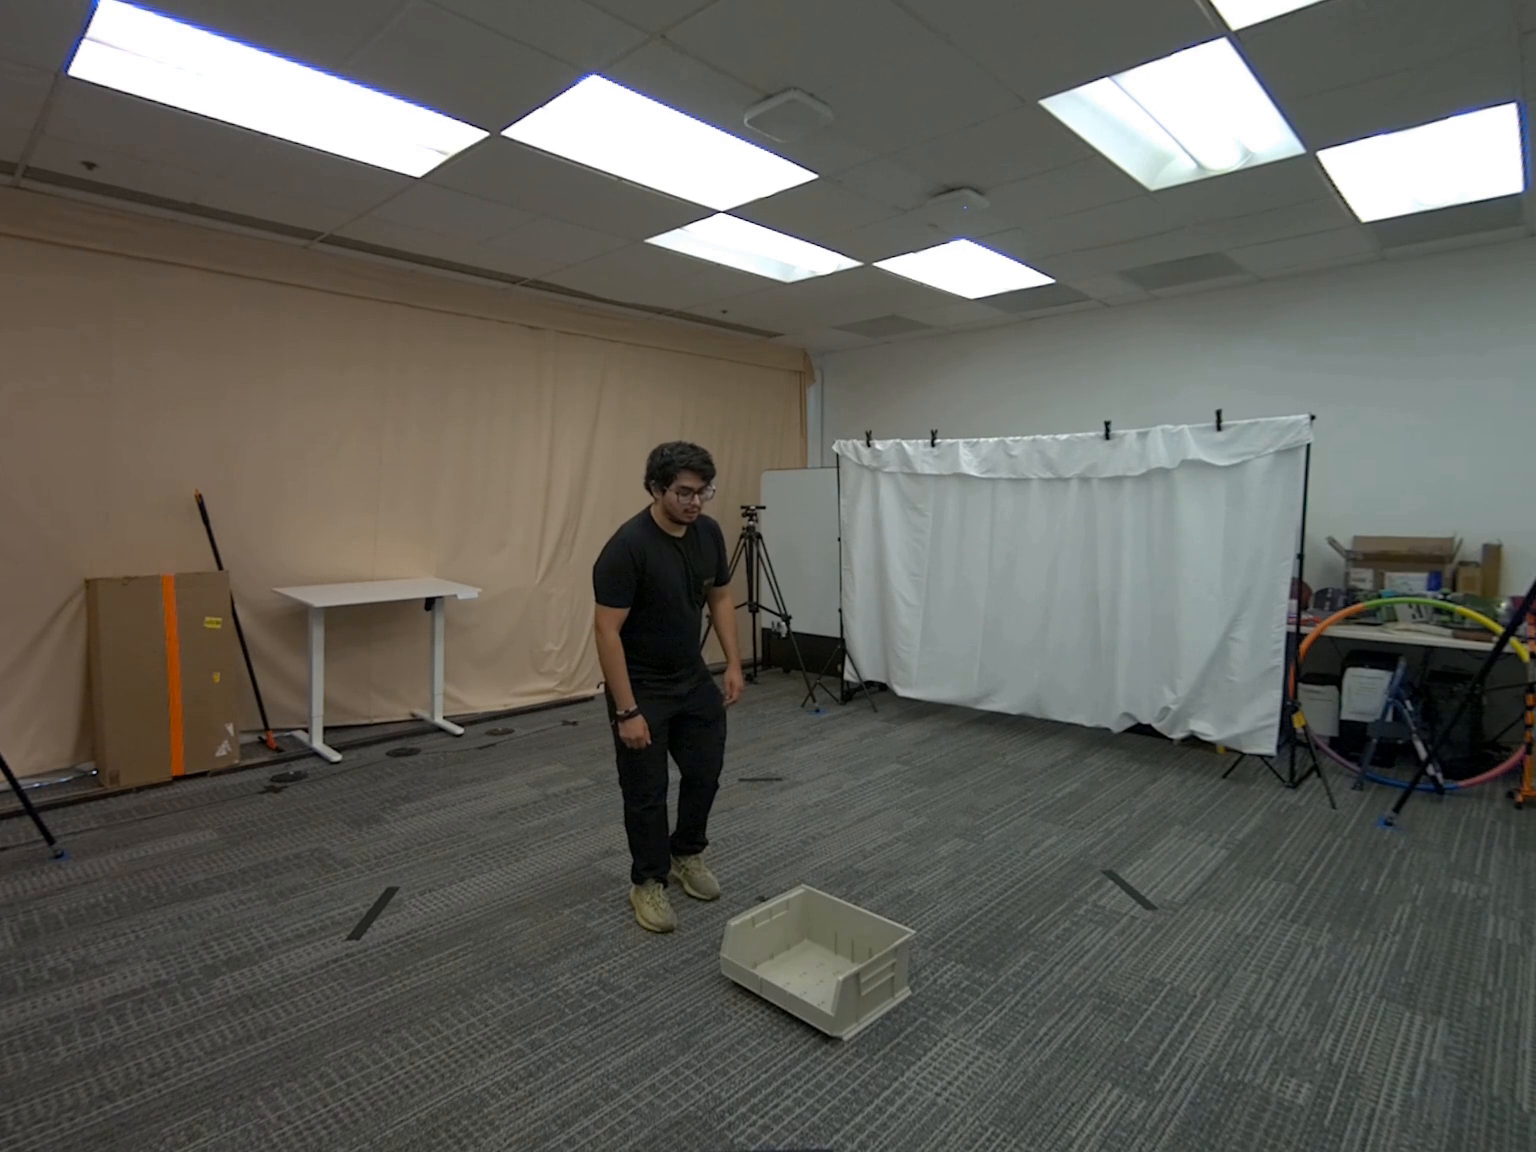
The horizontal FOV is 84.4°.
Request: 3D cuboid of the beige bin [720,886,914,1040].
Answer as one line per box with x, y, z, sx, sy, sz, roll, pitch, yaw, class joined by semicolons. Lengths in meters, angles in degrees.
0.145;1.104;2.418;0.436;0.188;0.366;4;5;44;beige bin
